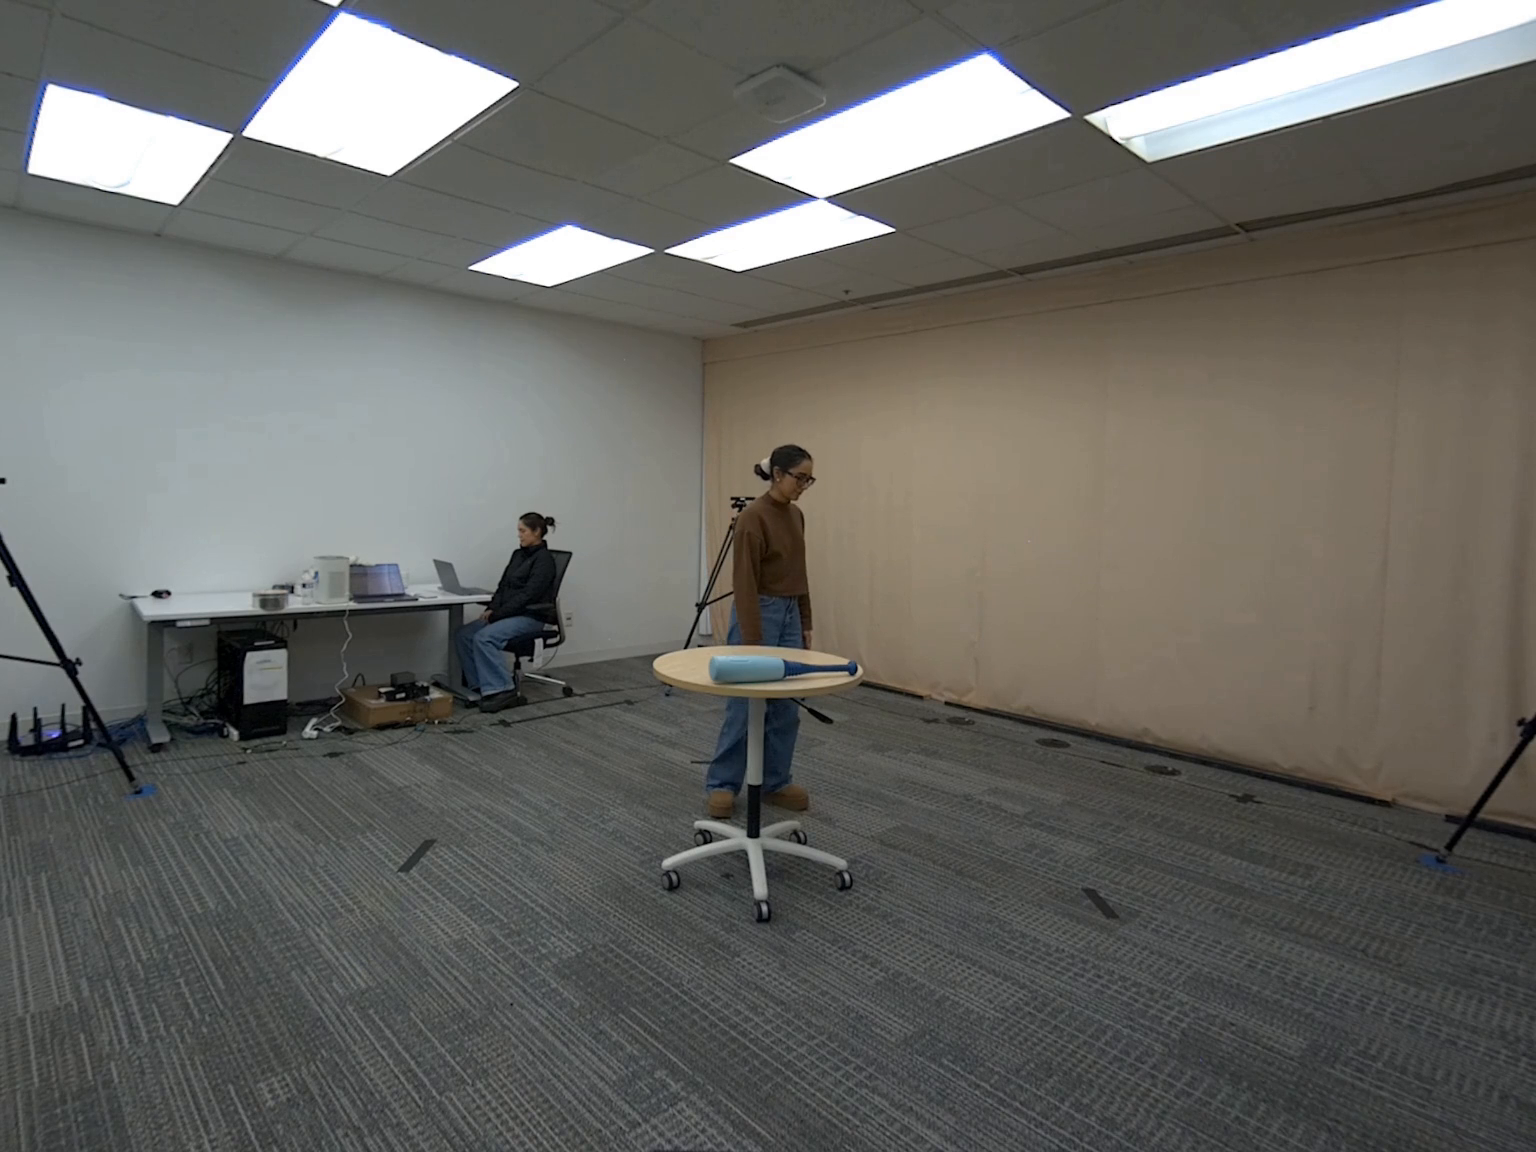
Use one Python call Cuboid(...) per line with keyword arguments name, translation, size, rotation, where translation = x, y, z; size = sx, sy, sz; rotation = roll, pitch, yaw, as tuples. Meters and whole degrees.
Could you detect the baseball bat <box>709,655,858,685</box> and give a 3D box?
Cuboid(name="baseball bat", translation=(0.062, 0.321, 2.857), size=(0.534, 0.089, 0.091), rotation=(2, 4, -22))
